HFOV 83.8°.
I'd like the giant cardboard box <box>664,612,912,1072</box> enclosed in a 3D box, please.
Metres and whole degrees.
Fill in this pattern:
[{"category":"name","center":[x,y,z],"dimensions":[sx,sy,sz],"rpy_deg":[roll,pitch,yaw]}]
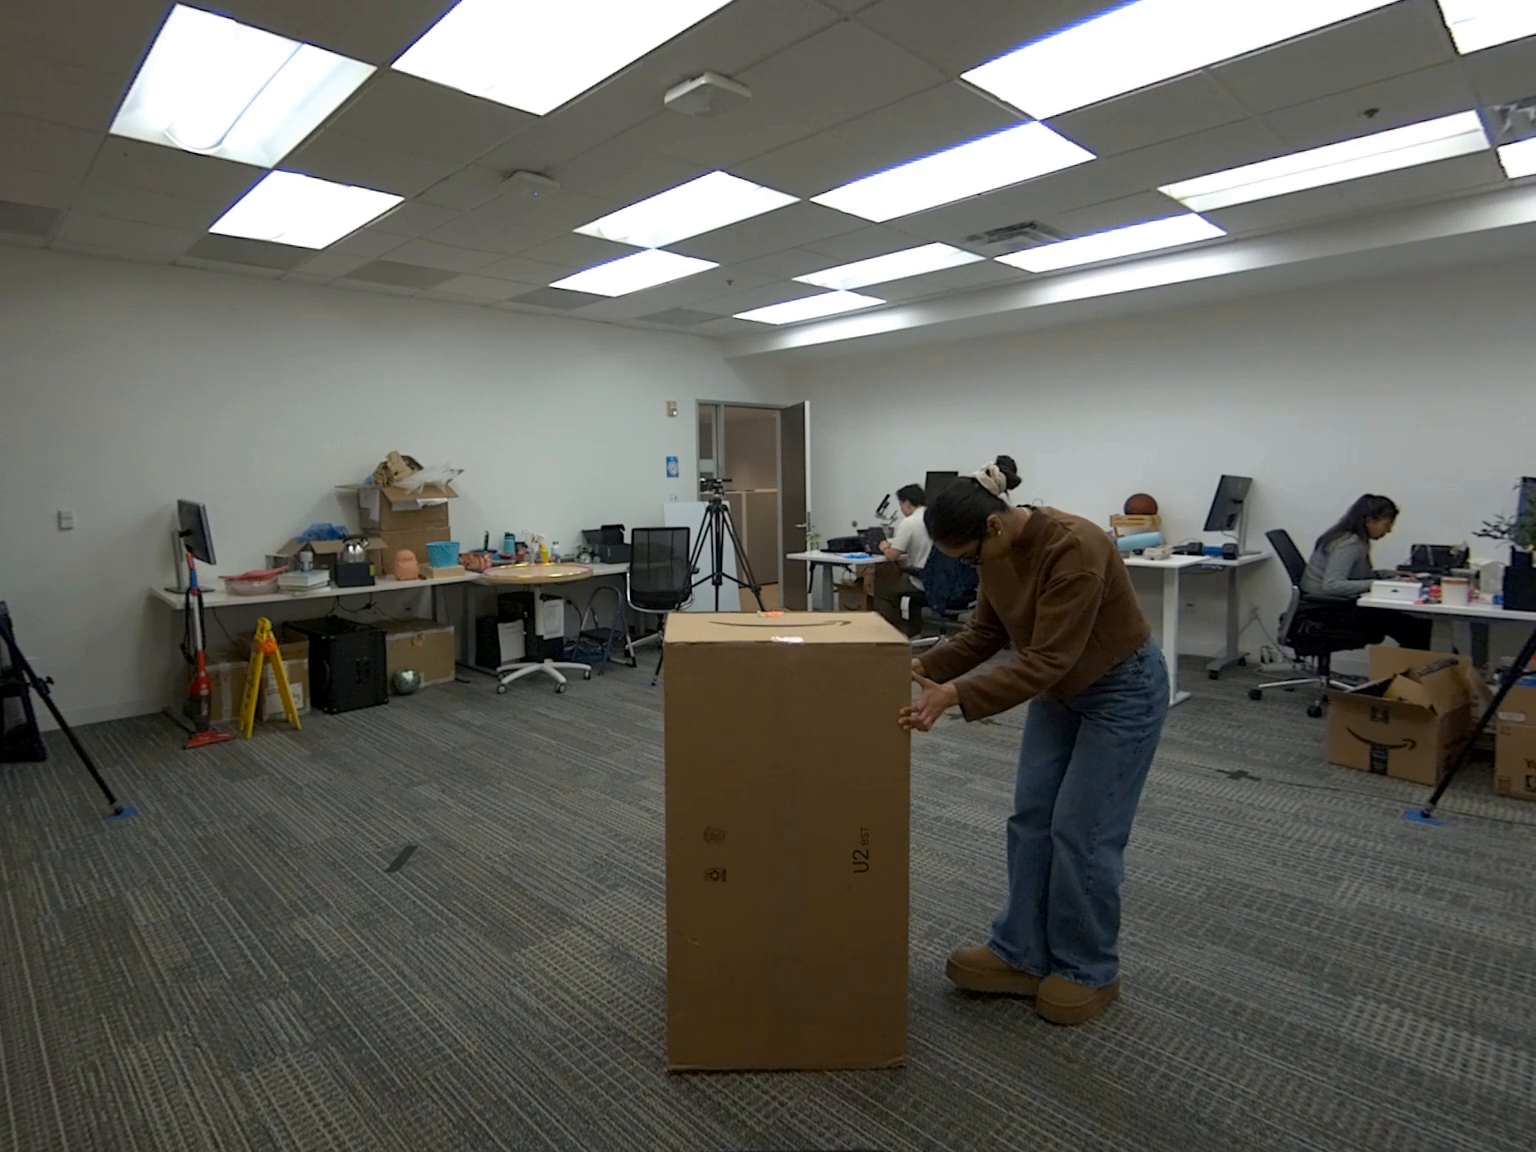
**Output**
[{"category":"giant cardboard box","center":[0.034,0.637,2.186],"dimensions":[0.576,1.022,0.429],"rpy_deg":[0,4,-2]}]
